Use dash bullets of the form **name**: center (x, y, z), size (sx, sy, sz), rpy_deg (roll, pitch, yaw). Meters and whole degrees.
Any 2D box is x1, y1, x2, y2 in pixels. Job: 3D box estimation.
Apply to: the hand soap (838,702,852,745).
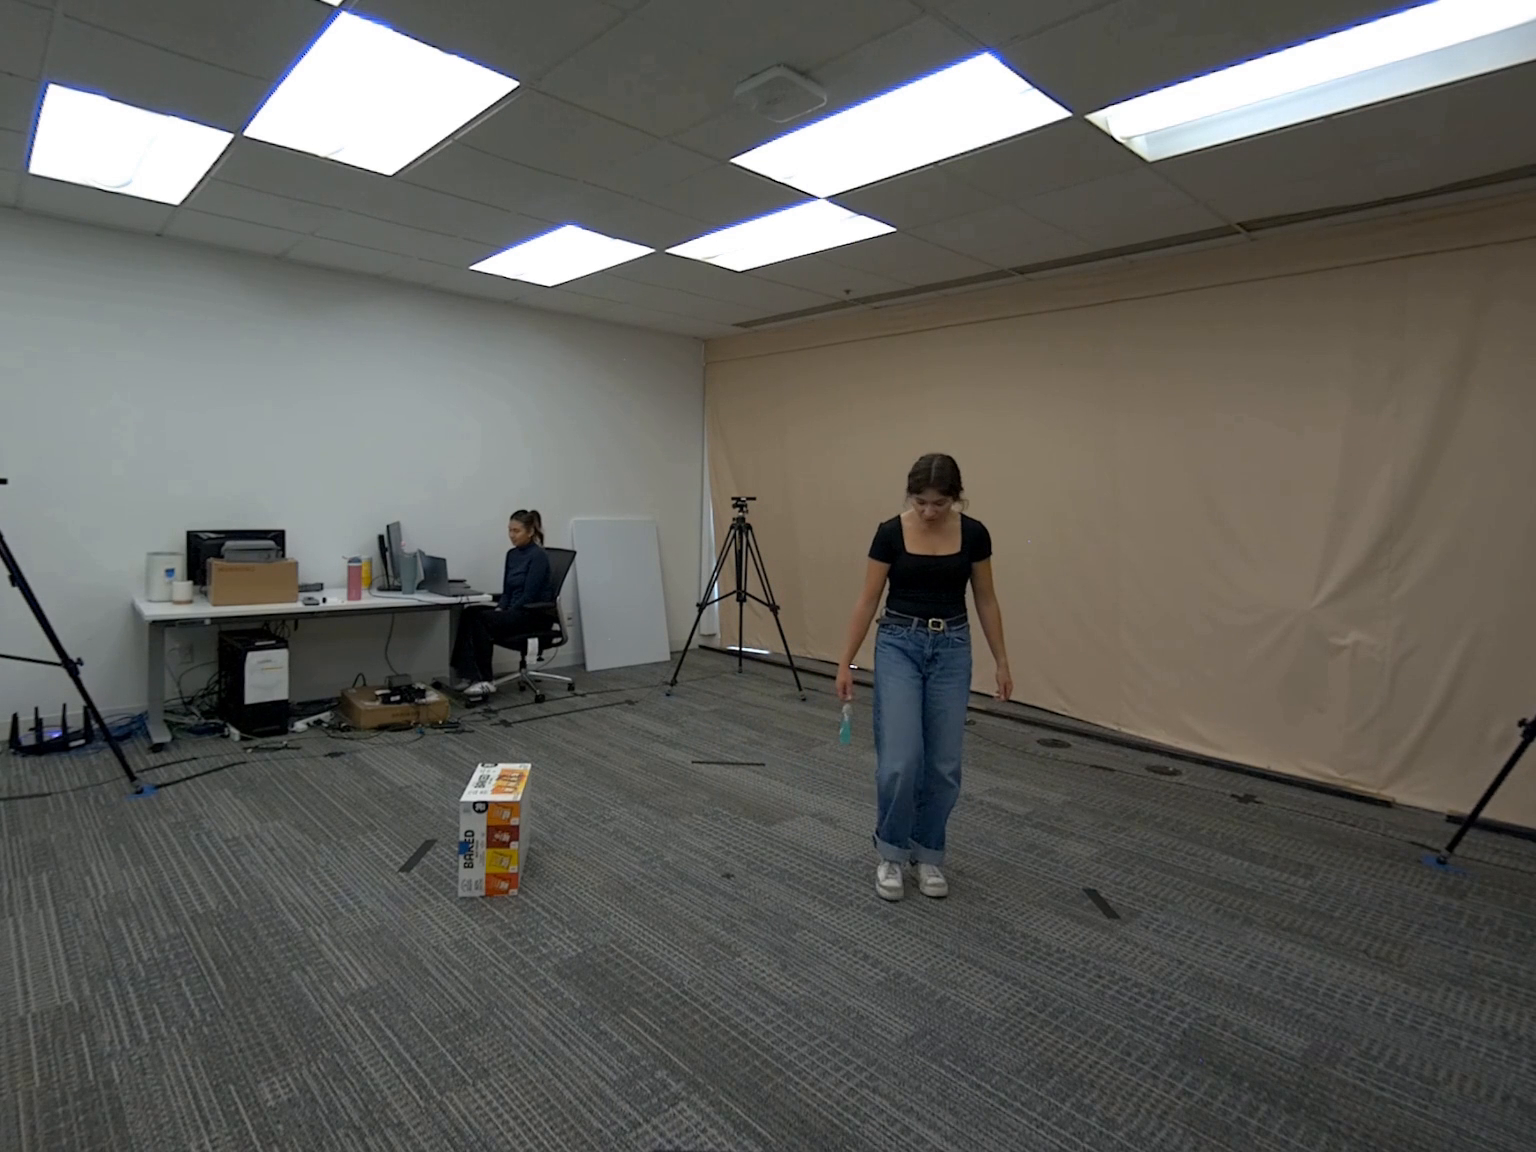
- **hand soap**: center (0.279, 0.518, 3.042), size (0.043, 0.167, 0.085), rpy_deg (7, 7, -1)
